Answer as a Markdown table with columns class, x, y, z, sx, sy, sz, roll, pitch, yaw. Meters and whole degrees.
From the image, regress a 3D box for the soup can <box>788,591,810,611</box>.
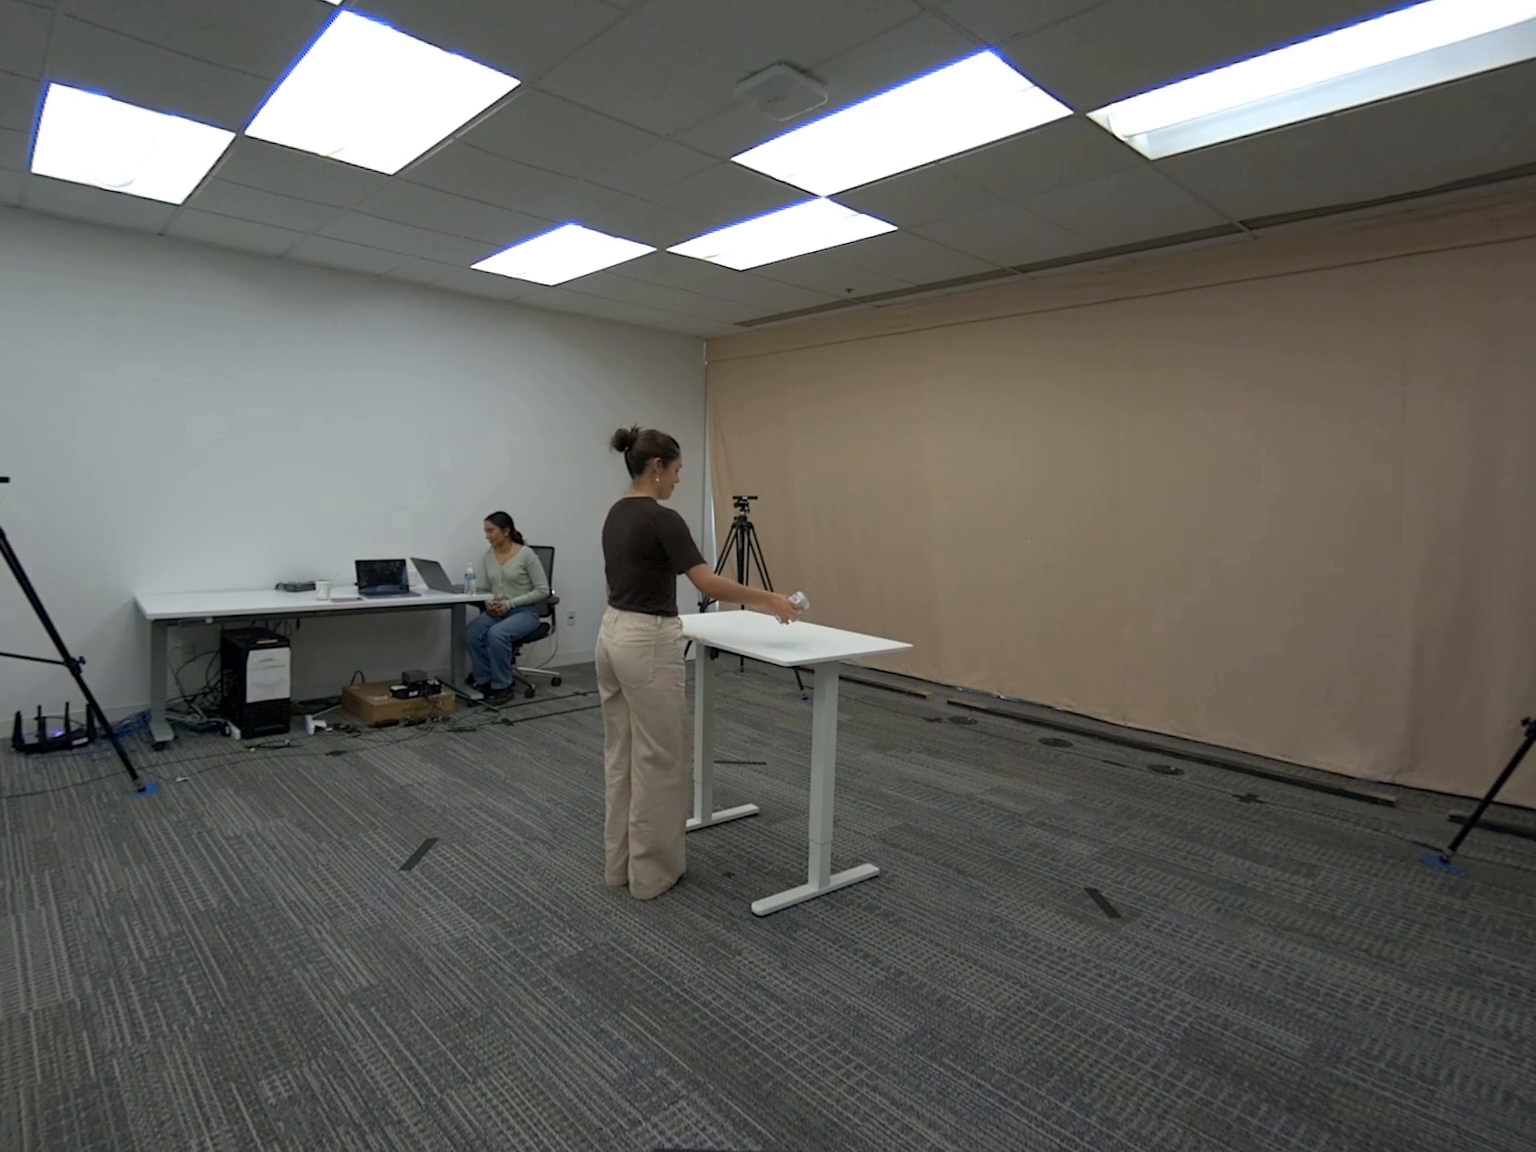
| class | x | y | z | sx | sy | sz | roll | pitch | yaw |
| --- | --- | --- | --- | --- | --- | --- | --- | --- | --- |
| soup can | 0.067 | 0.107 | 2.984 | 0.122 | 0.067 | 0.067 | -28 | 1 | 7 |
